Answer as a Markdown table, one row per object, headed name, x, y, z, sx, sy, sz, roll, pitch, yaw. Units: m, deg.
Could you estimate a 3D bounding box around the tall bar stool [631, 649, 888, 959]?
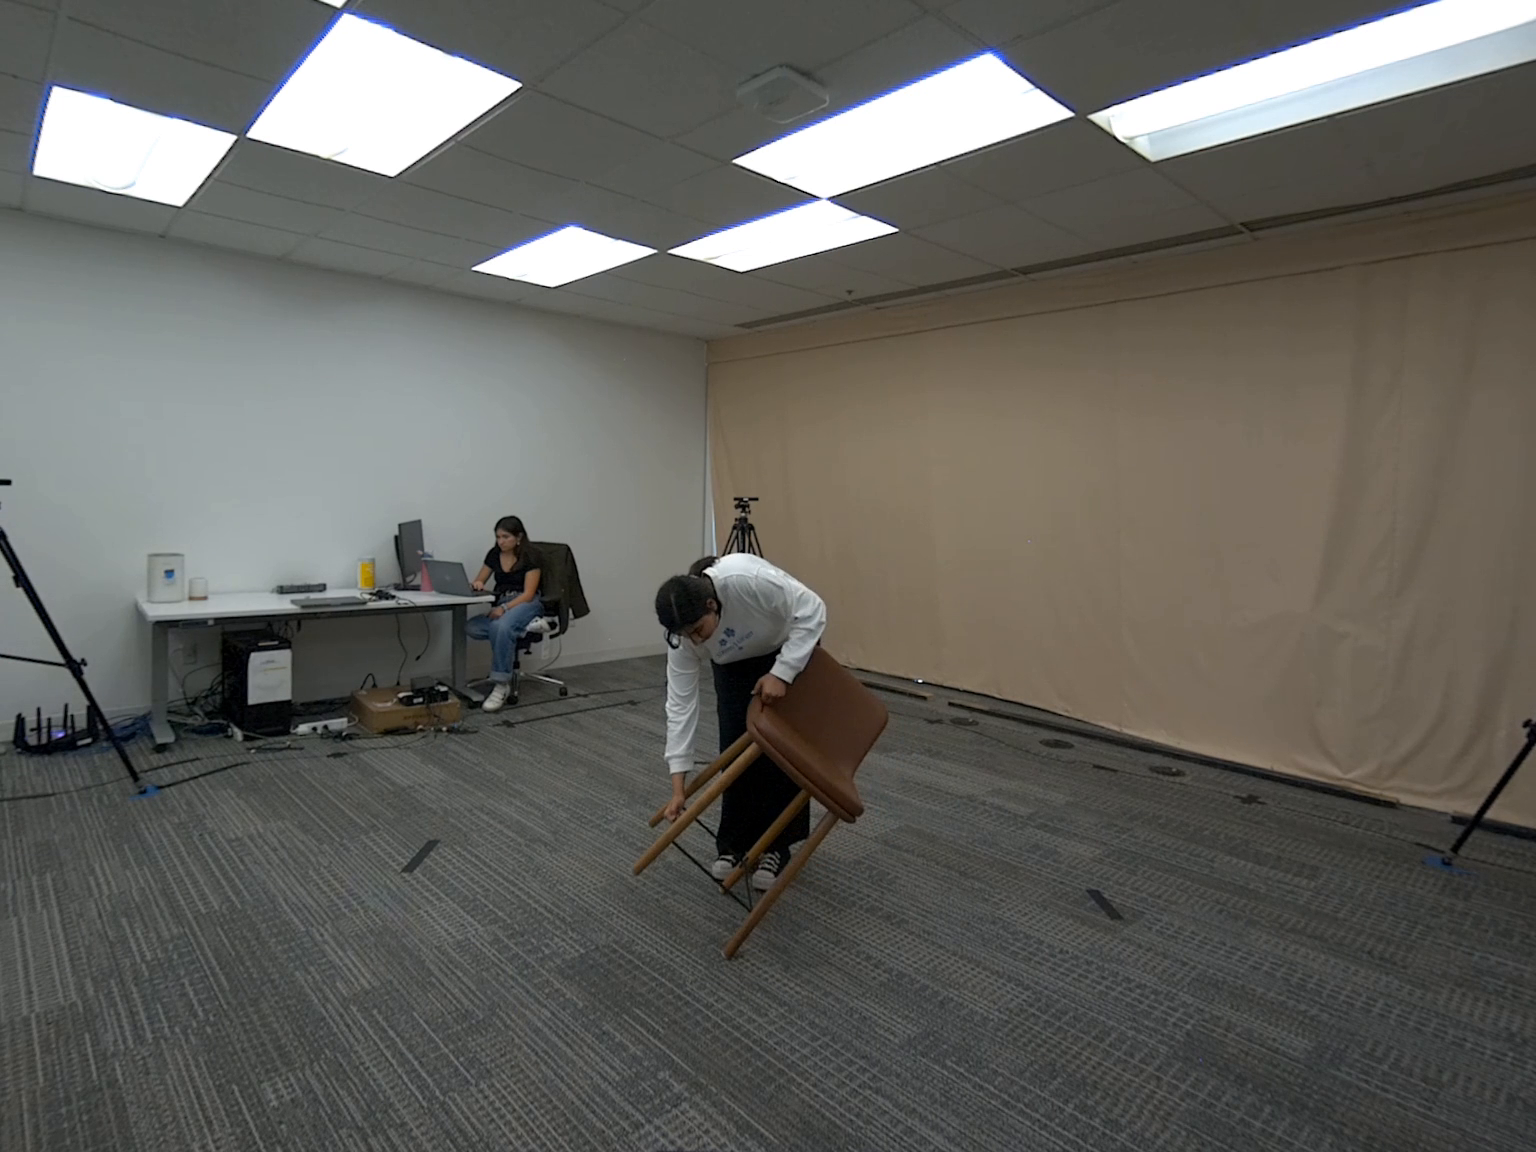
| name | x | y | z | sx | sy | sz | roll | pitch | yaw |
| --- | --- | --- | --- | --- | --- | --- | --- | --- | --- |
| tall bar stool | 0.003 | 0.694 | 2.758 | 0.456 | 0.889 | 0.468 | 42 | -2 | -2 |
